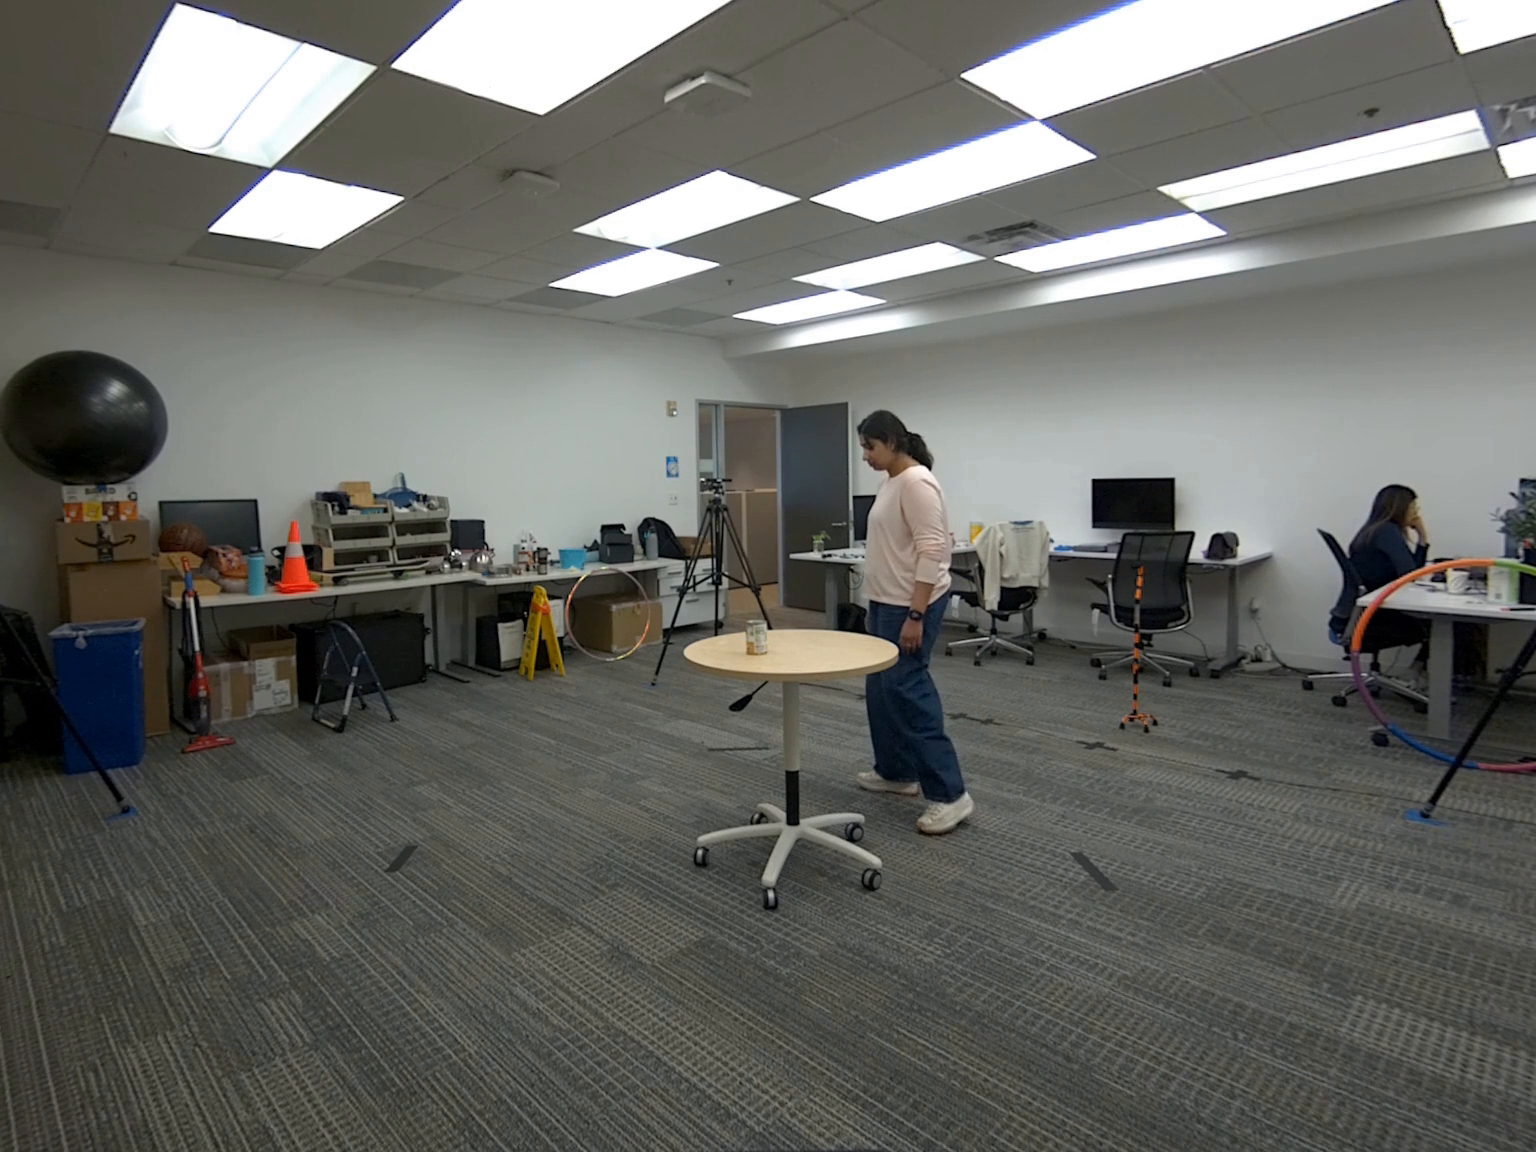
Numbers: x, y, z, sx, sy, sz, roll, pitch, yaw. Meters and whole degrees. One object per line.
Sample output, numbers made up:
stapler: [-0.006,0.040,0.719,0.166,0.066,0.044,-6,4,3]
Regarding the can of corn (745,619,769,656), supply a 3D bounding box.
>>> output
can of corn: [-0.038,0.218,2.999,0.074,0.110,0.075,0,6,-2]
